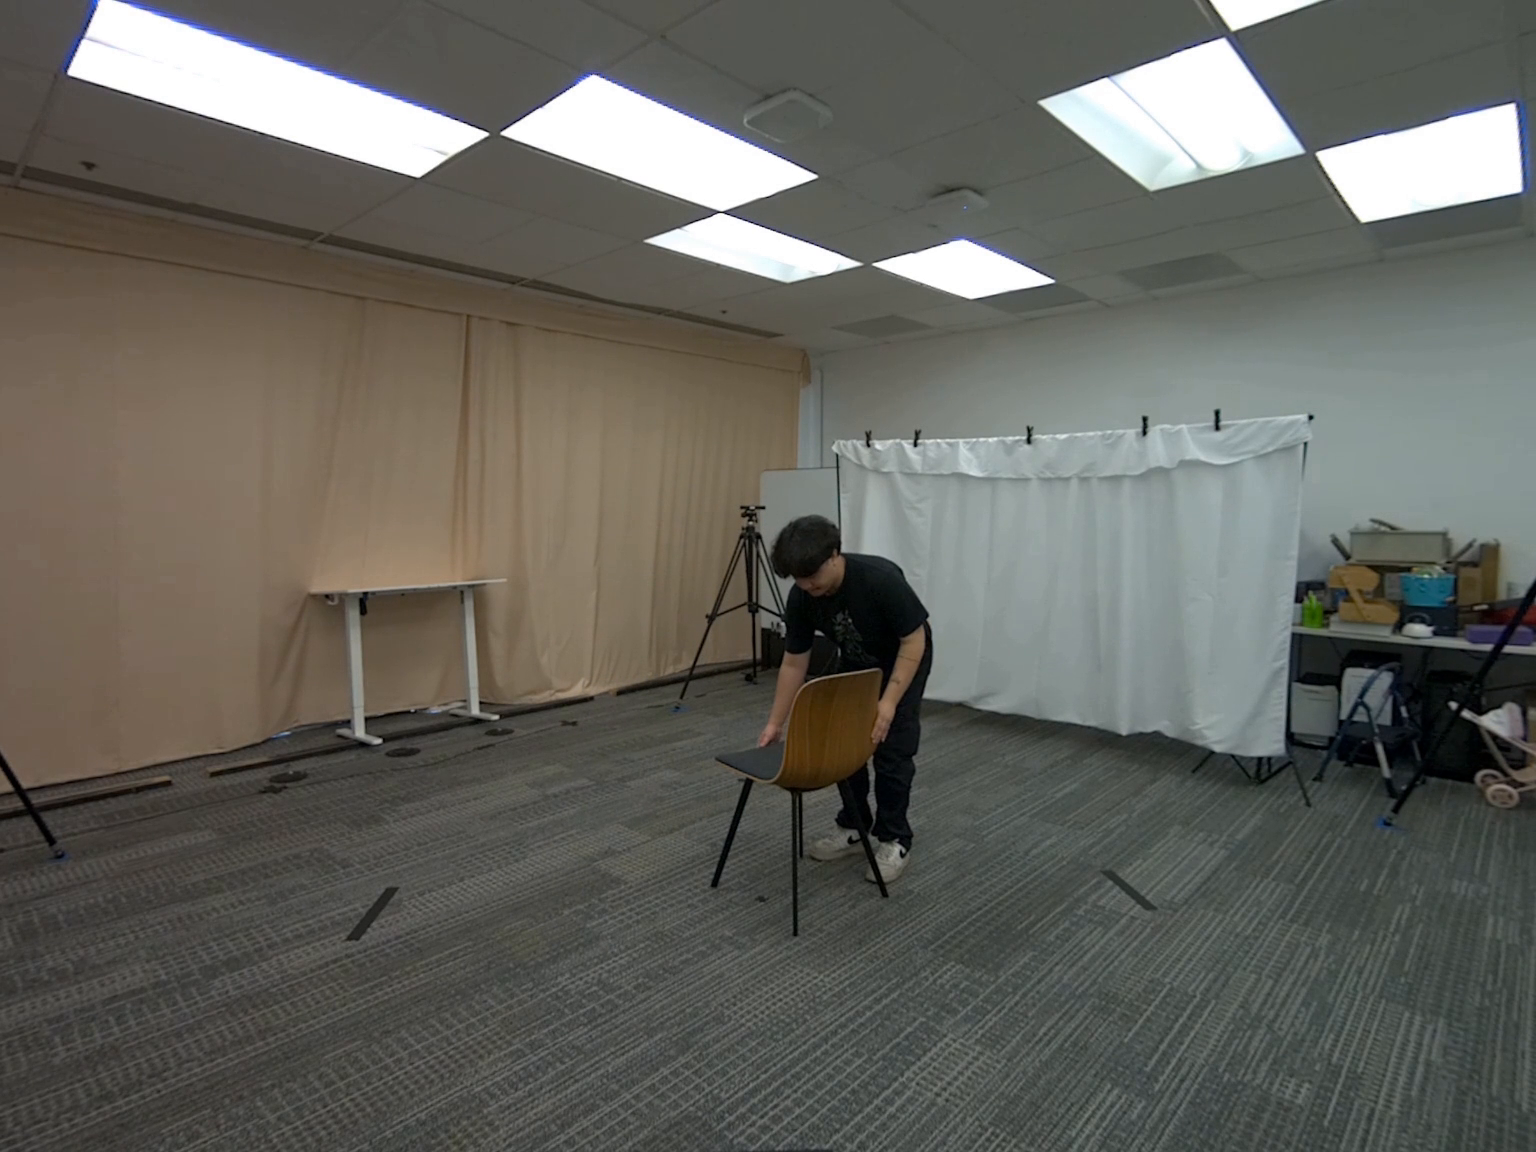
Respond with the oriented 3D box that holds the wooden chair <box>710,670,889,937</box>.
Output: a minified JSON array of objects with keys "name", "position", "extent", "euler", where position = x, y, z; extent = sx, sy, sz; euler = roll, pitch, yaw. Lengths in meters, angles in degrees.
[{"name":"wooden chair","position":[0.099,0.710,3.011],"extent":[0.464,0.874,0.541],"euler":[-3,9,-40]}]
